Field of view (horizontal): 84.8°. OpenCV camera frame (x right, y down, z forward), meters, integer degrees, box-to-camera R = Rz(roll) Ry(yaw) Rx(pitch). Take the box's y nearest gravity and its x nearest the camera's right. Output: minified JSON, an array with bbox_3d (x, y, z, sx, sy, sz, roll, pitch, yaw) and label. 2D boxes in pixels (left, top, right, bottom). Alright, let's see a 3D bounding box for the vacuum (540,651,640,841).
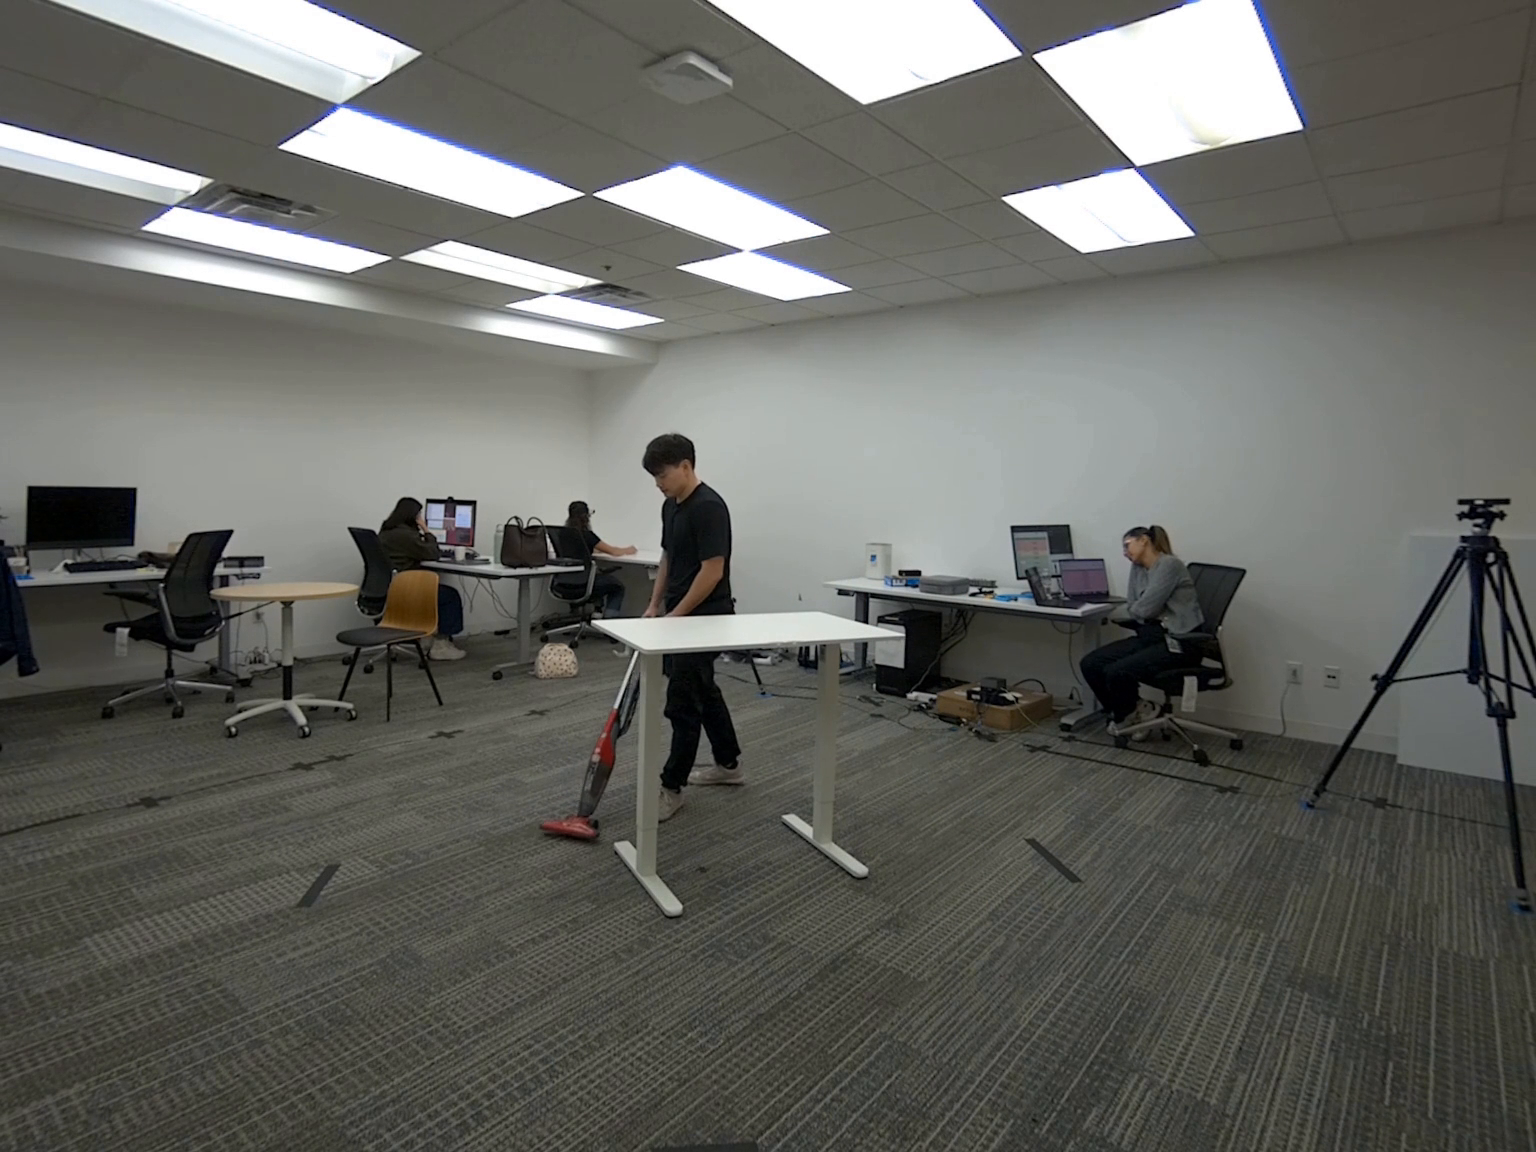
[{"bbox_3d":[-0.660,0.602,3.704,0.258,1.067,0.139,3,-37,18],"label":"vacuum"}]
